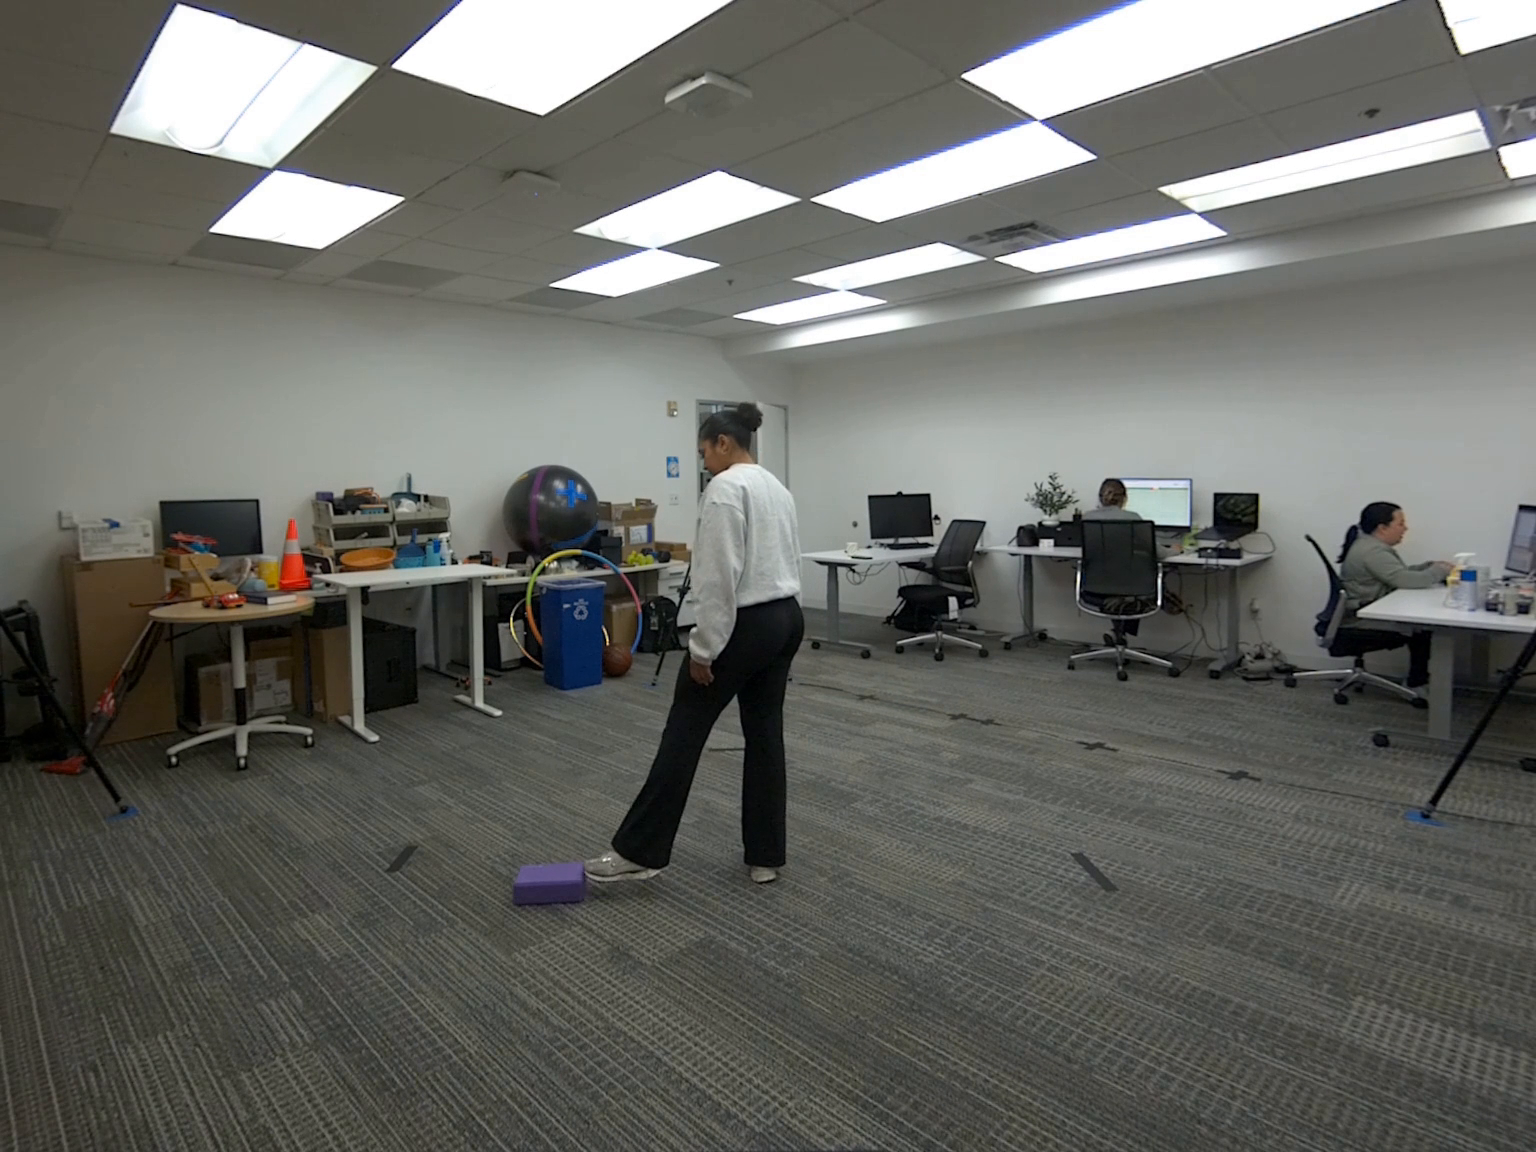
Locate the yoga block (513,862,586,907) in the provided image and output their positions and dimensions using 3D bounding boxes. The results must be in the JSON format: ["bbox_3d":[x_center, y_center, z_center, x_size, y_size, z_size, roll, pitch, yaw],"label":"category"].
[{"bbox_3d":[-0.717,1.040,2.910,0.228,0.076,0.150,-2,5,-4],"label":"yoga block"}]
